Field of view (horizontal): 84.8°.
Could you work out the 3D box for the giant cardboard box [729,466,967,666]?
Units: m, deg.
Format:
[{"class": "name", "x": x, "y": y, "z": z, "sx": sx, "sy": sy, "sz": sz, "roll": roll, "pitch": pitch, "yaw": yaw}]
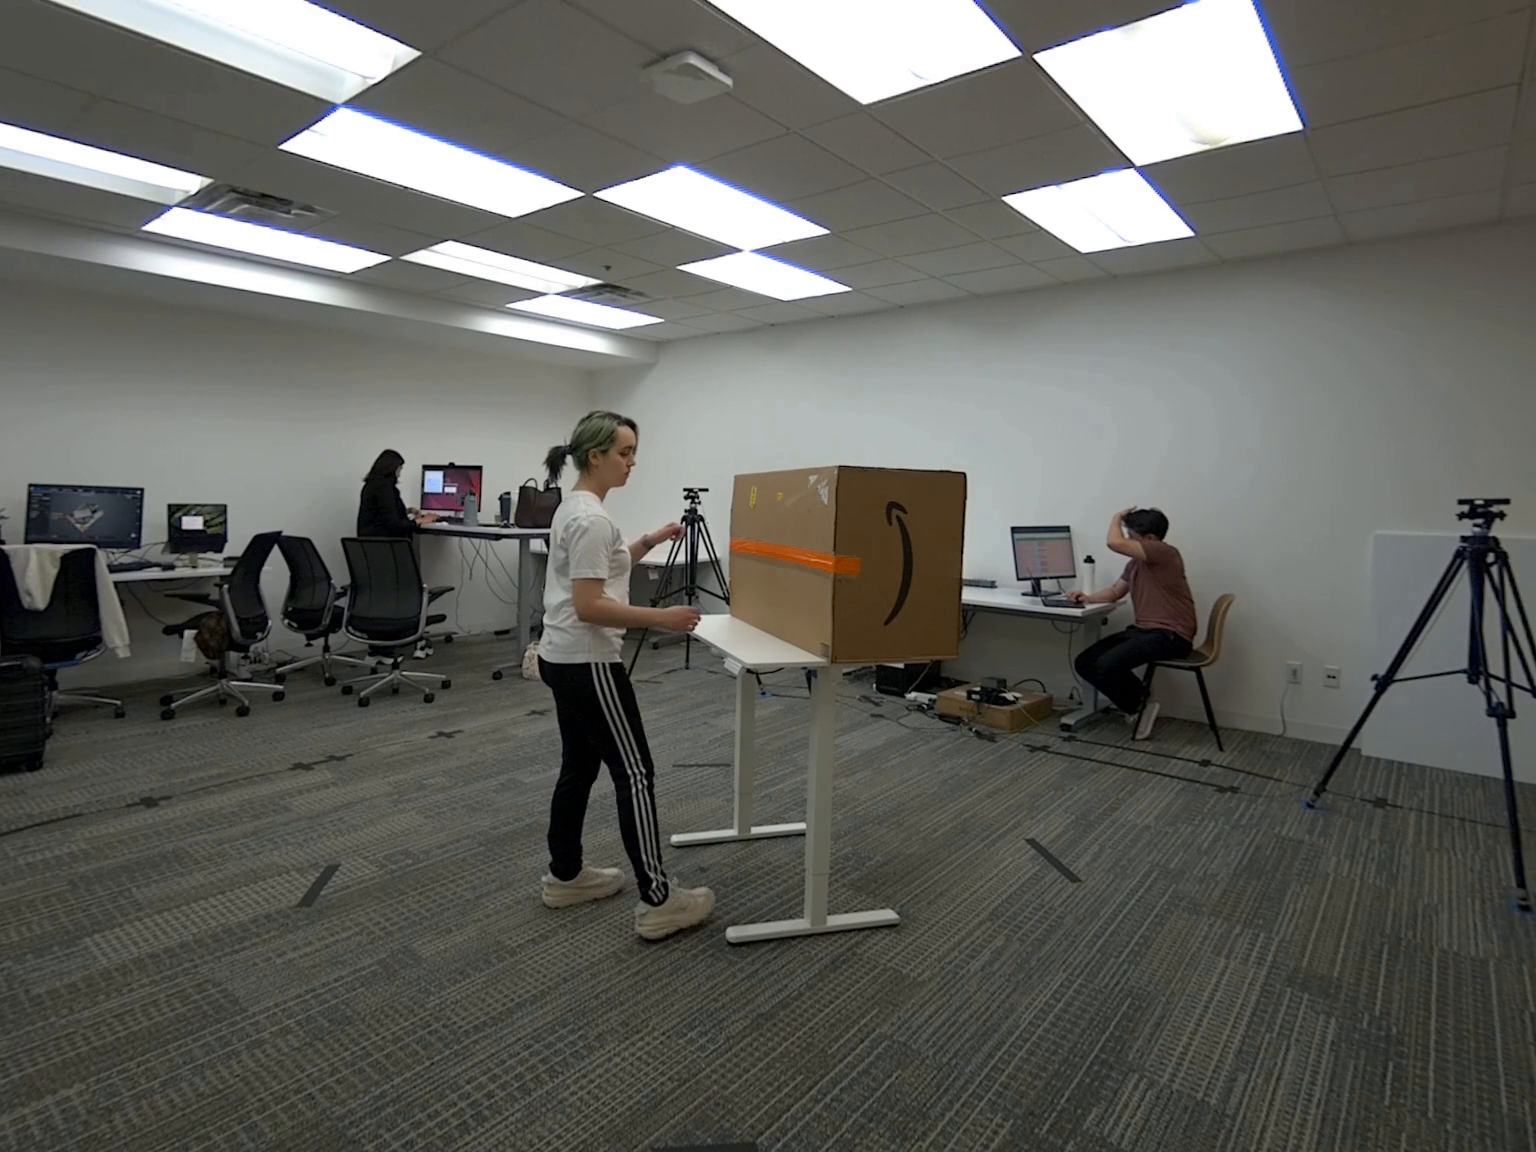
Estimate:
[{"class": "giant cardboard box", "x": 0.206, "y": -0.079, "z": 3.010, "sx": 0.438, "sy": 0.582, "sz": 1.049, "roll": 1, "pitch": 4, "yaw": -19}]
